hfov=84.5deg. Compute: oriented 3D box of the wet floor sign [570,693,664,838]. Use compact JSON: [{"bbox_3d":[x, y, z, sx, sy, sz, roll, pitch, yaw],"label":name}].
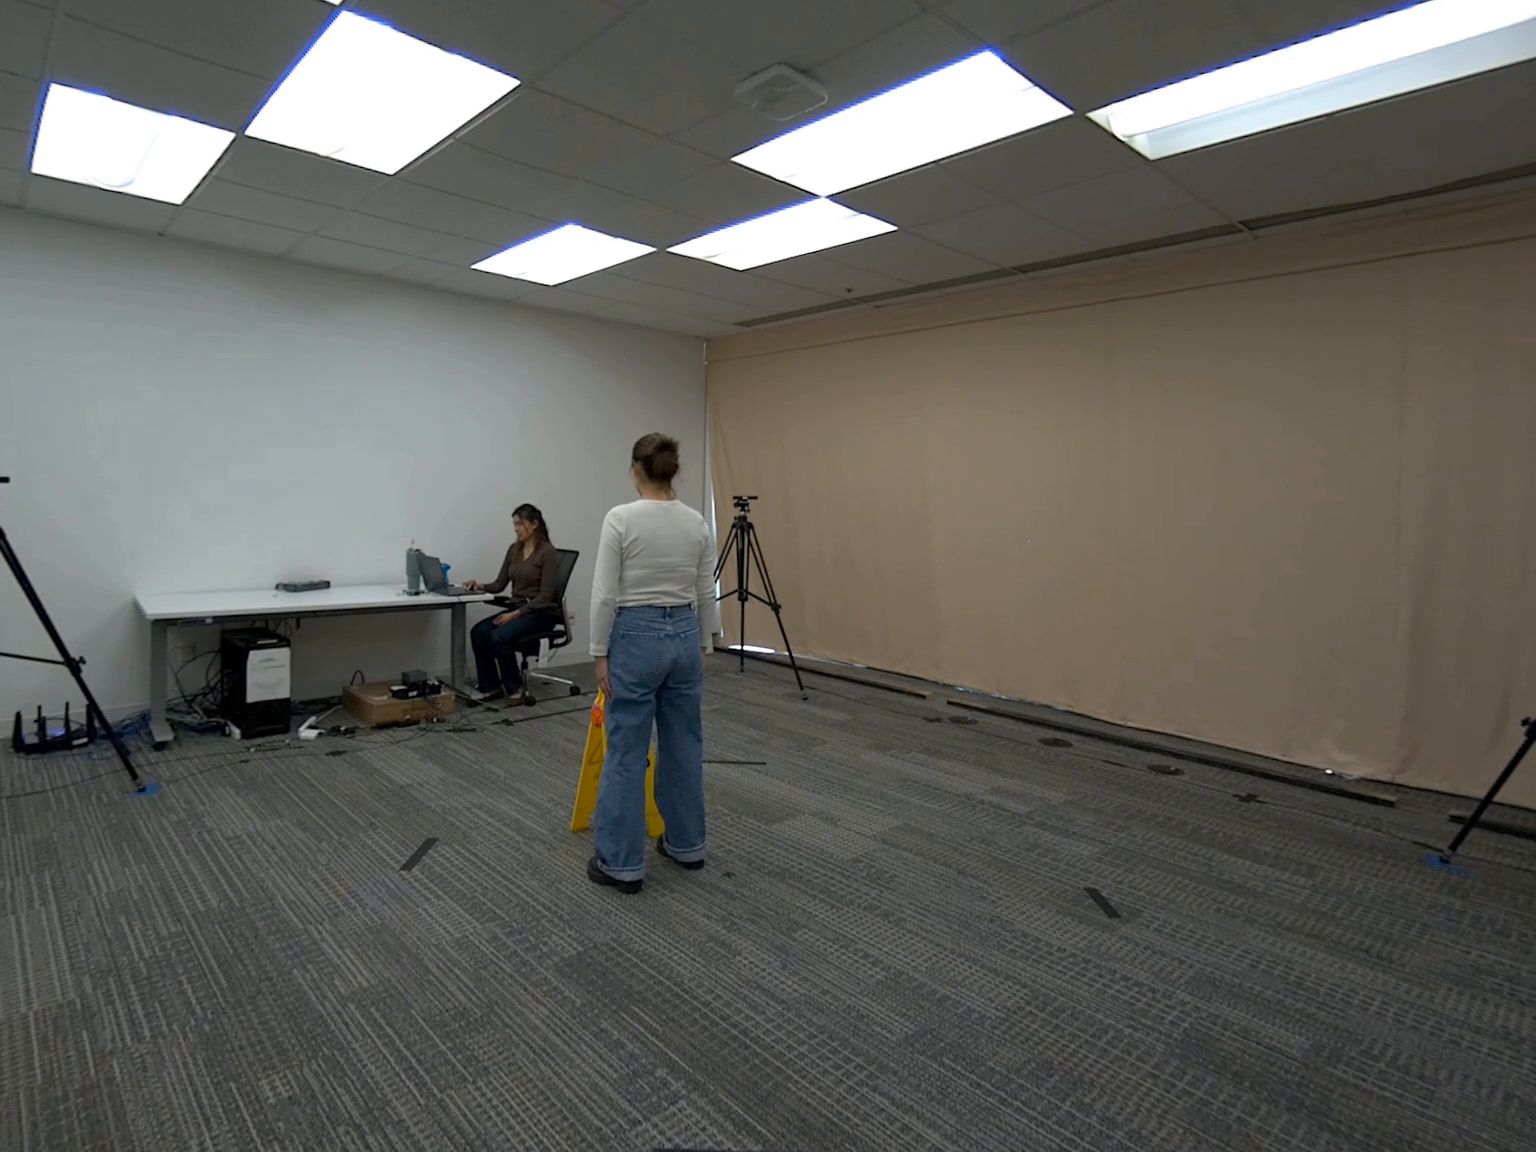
[{"bbox_3d":[-0.613,0.739,3.453,0.297,0.644,0.276,4,5,43],"label":"wet floor sign"}]
